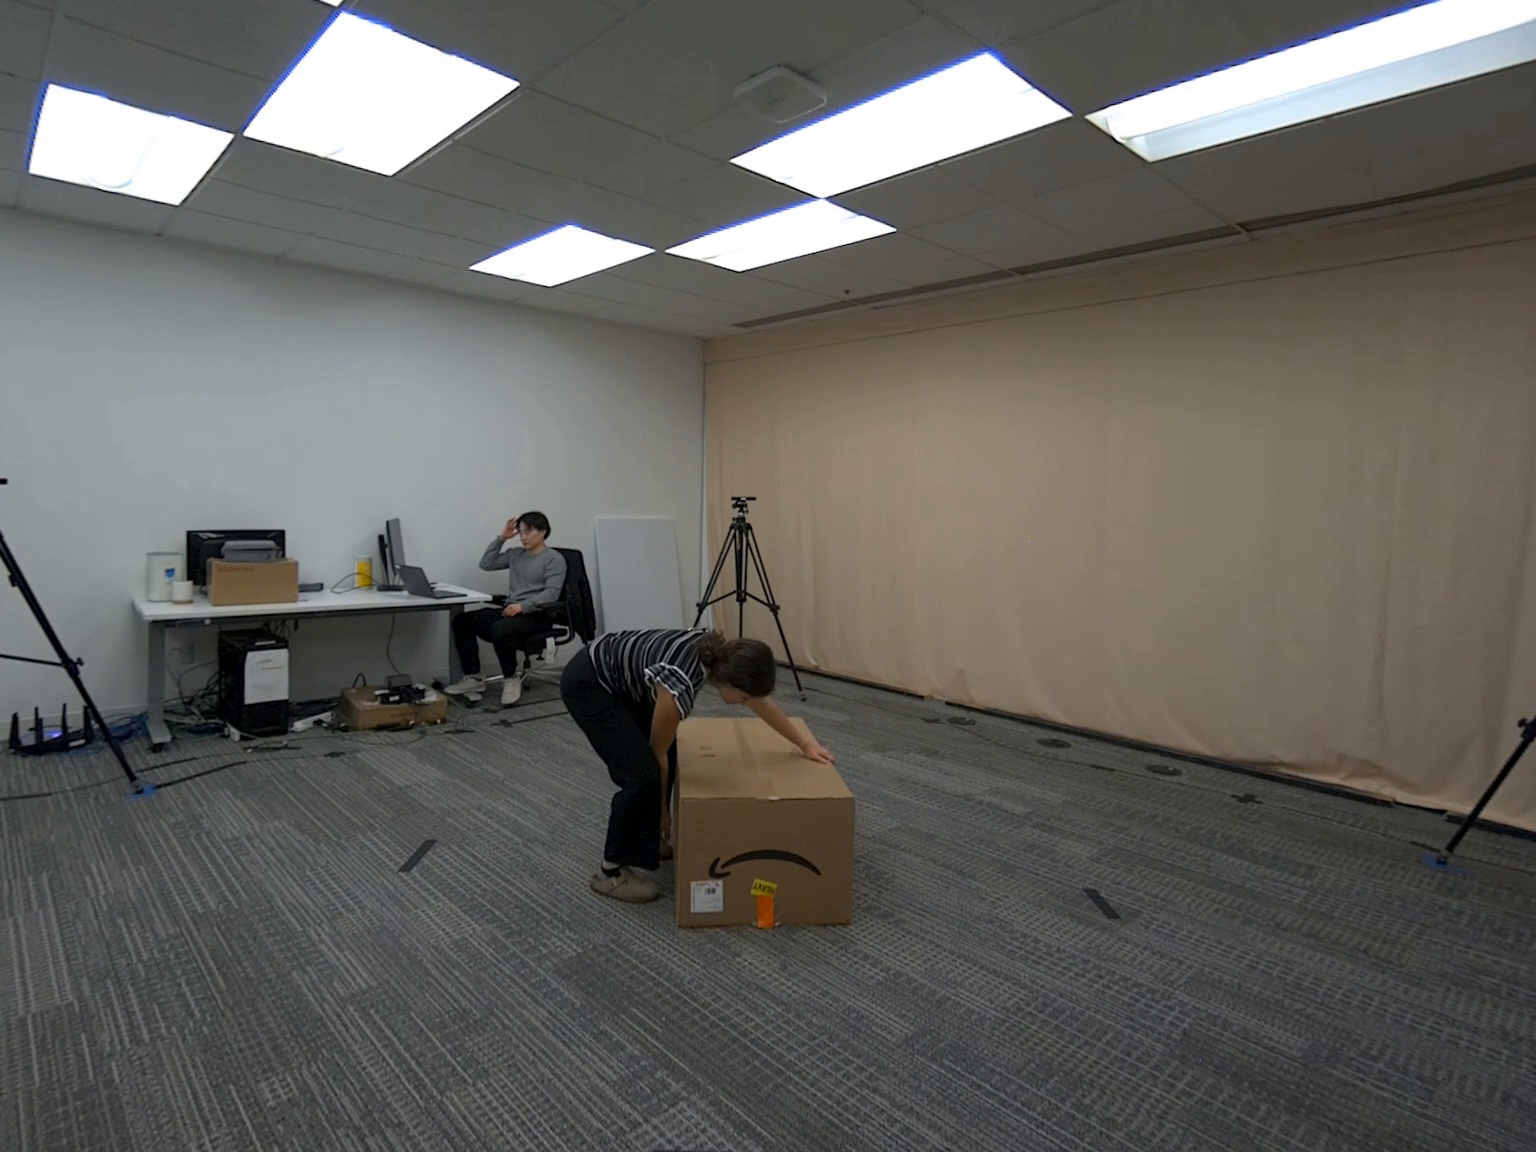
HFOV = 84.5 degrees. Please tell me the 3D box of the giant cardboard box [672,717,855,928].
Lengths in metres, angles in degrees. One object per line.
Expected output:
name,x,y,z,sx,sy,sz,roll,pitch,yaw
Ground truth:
giant cardboard box,-0.075,0.882,3.233,0.575,0.425,1.033,1,5,-7
